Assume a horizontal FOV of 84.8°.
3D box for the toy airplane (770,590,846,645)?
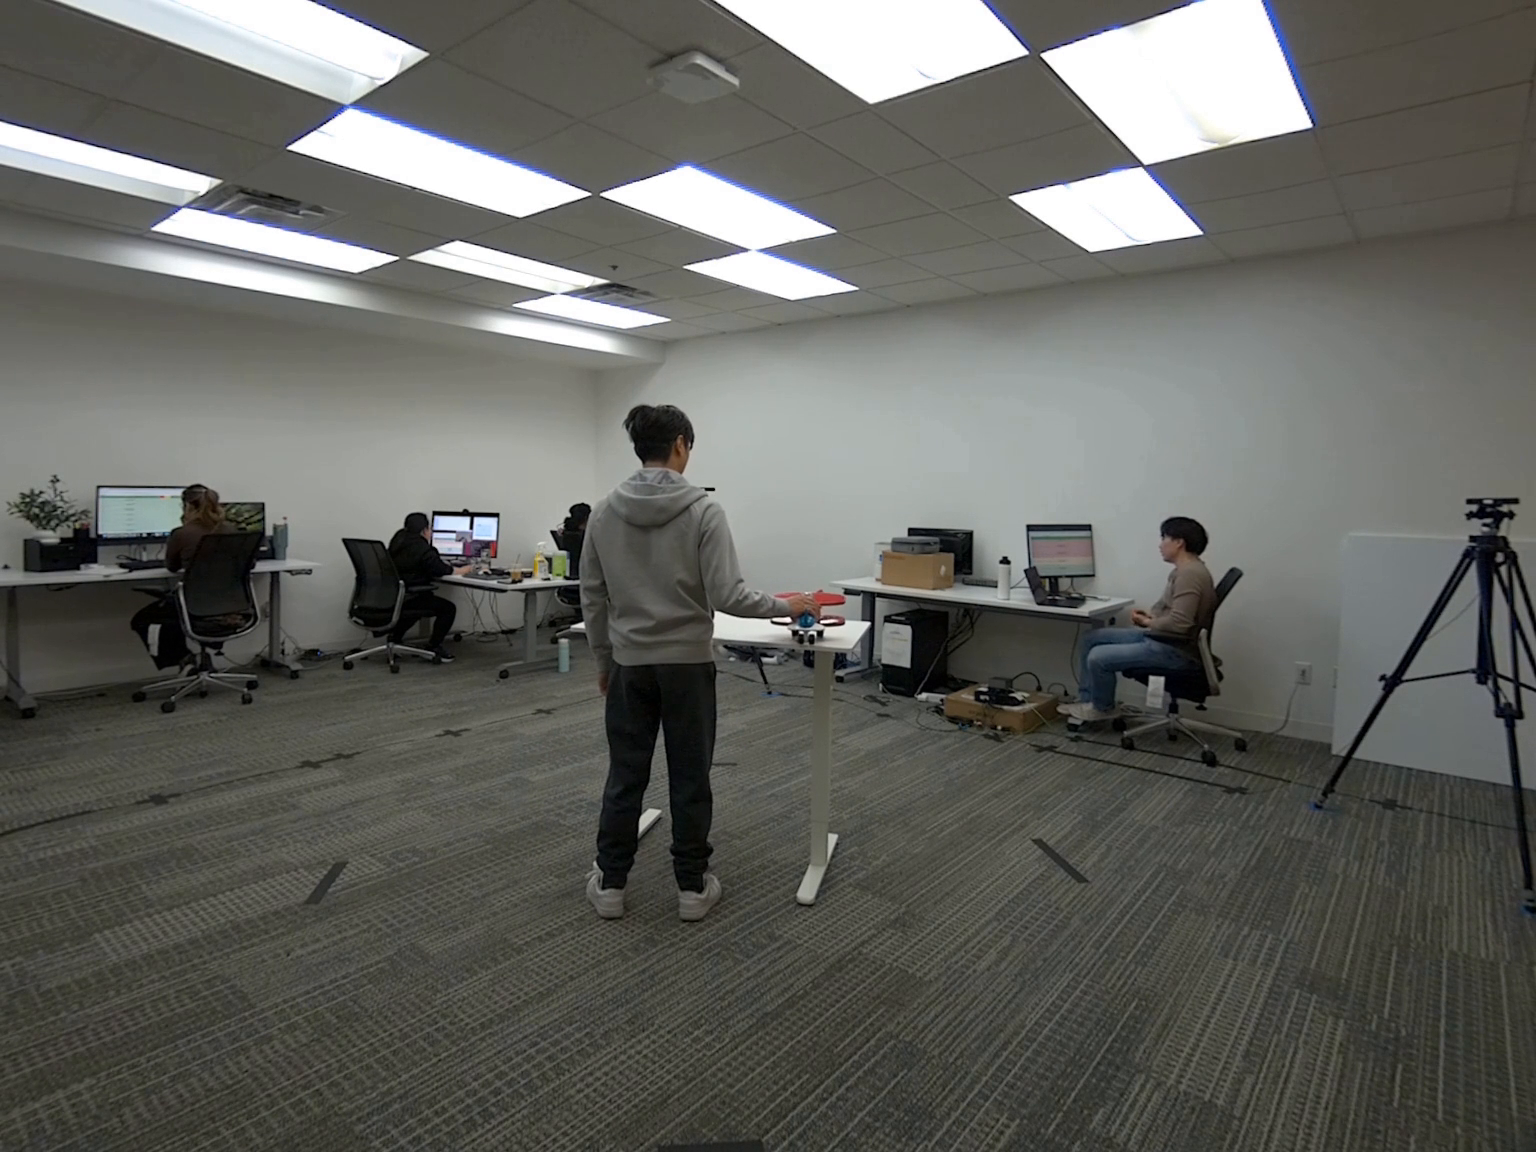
[{"bbox_3d":[0.142,0.140,2.883,0.246,0.156,0.266,-3,5,-23],"label":"toy airplane"}]
